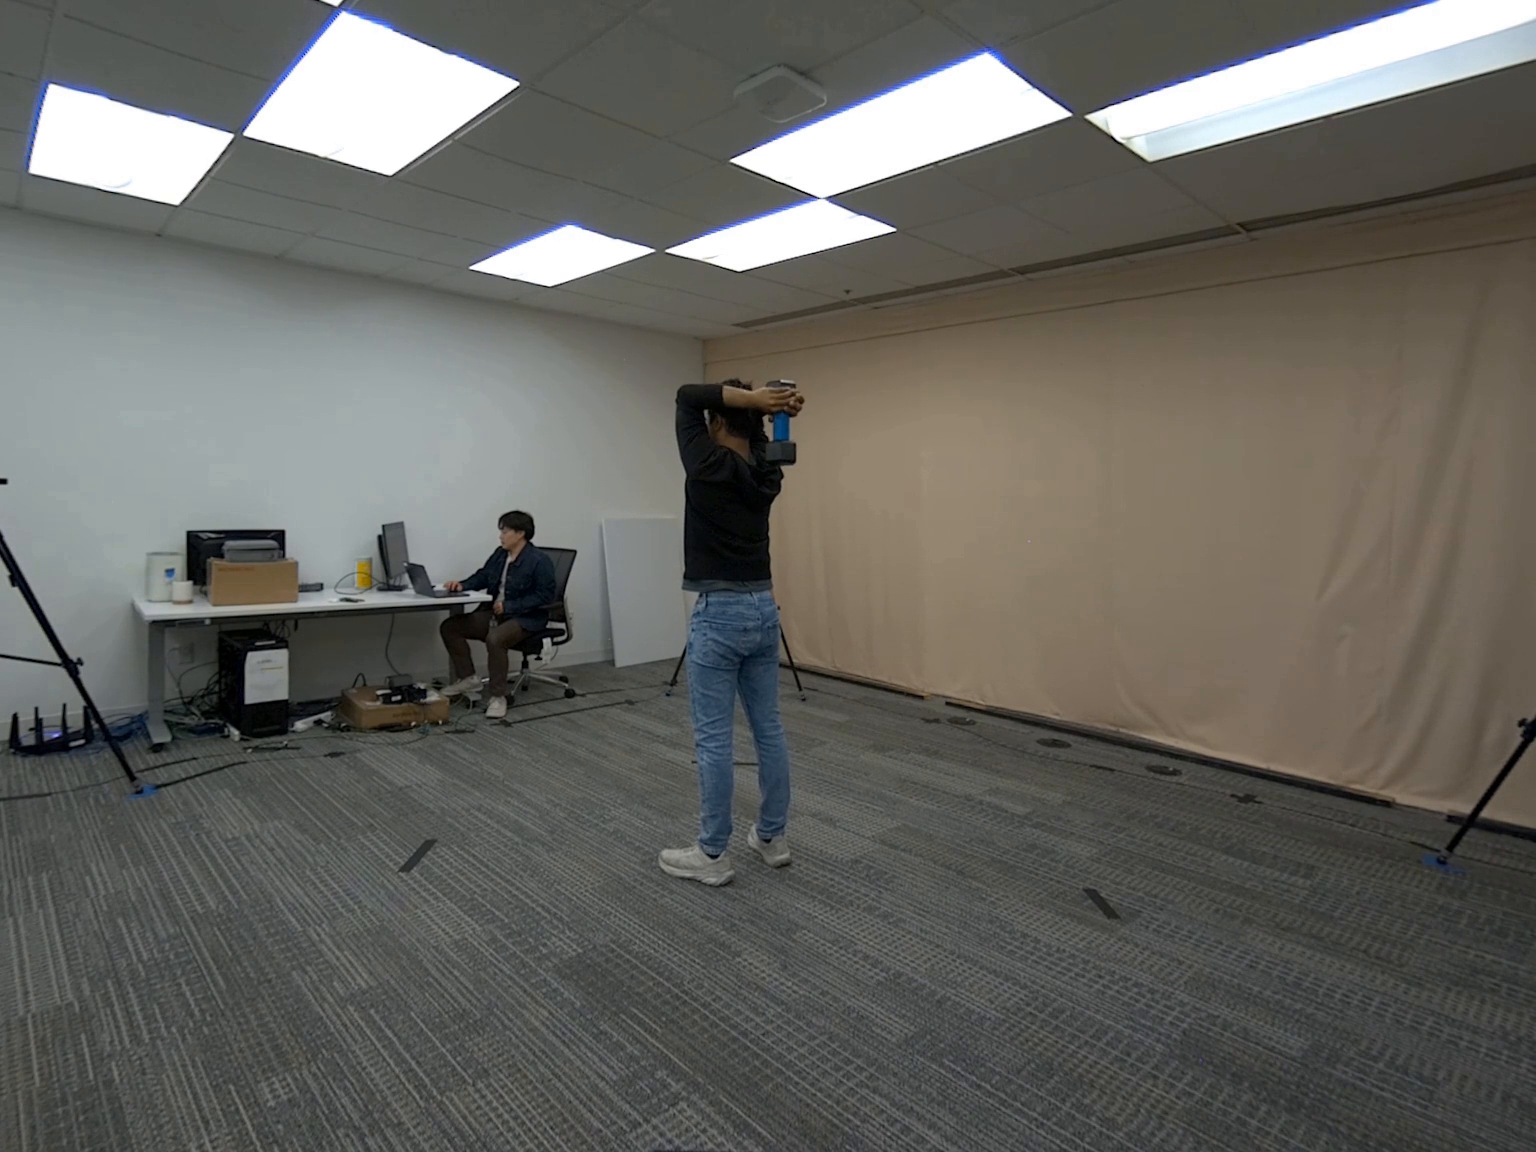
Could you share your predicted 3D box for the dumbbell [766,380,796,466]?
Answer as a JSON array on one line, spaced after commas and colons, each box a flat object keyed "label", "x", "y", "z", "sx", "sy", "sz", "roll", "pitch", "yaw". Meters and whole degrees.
[{"label": "dumbbell", "x": 0.026, "y": -0.546, "z": 2.994, "sx": 0.120, "sy": 0.294, "sz": 0.111, "roll": 0, "pitch": -3, "yaw": -36}]
